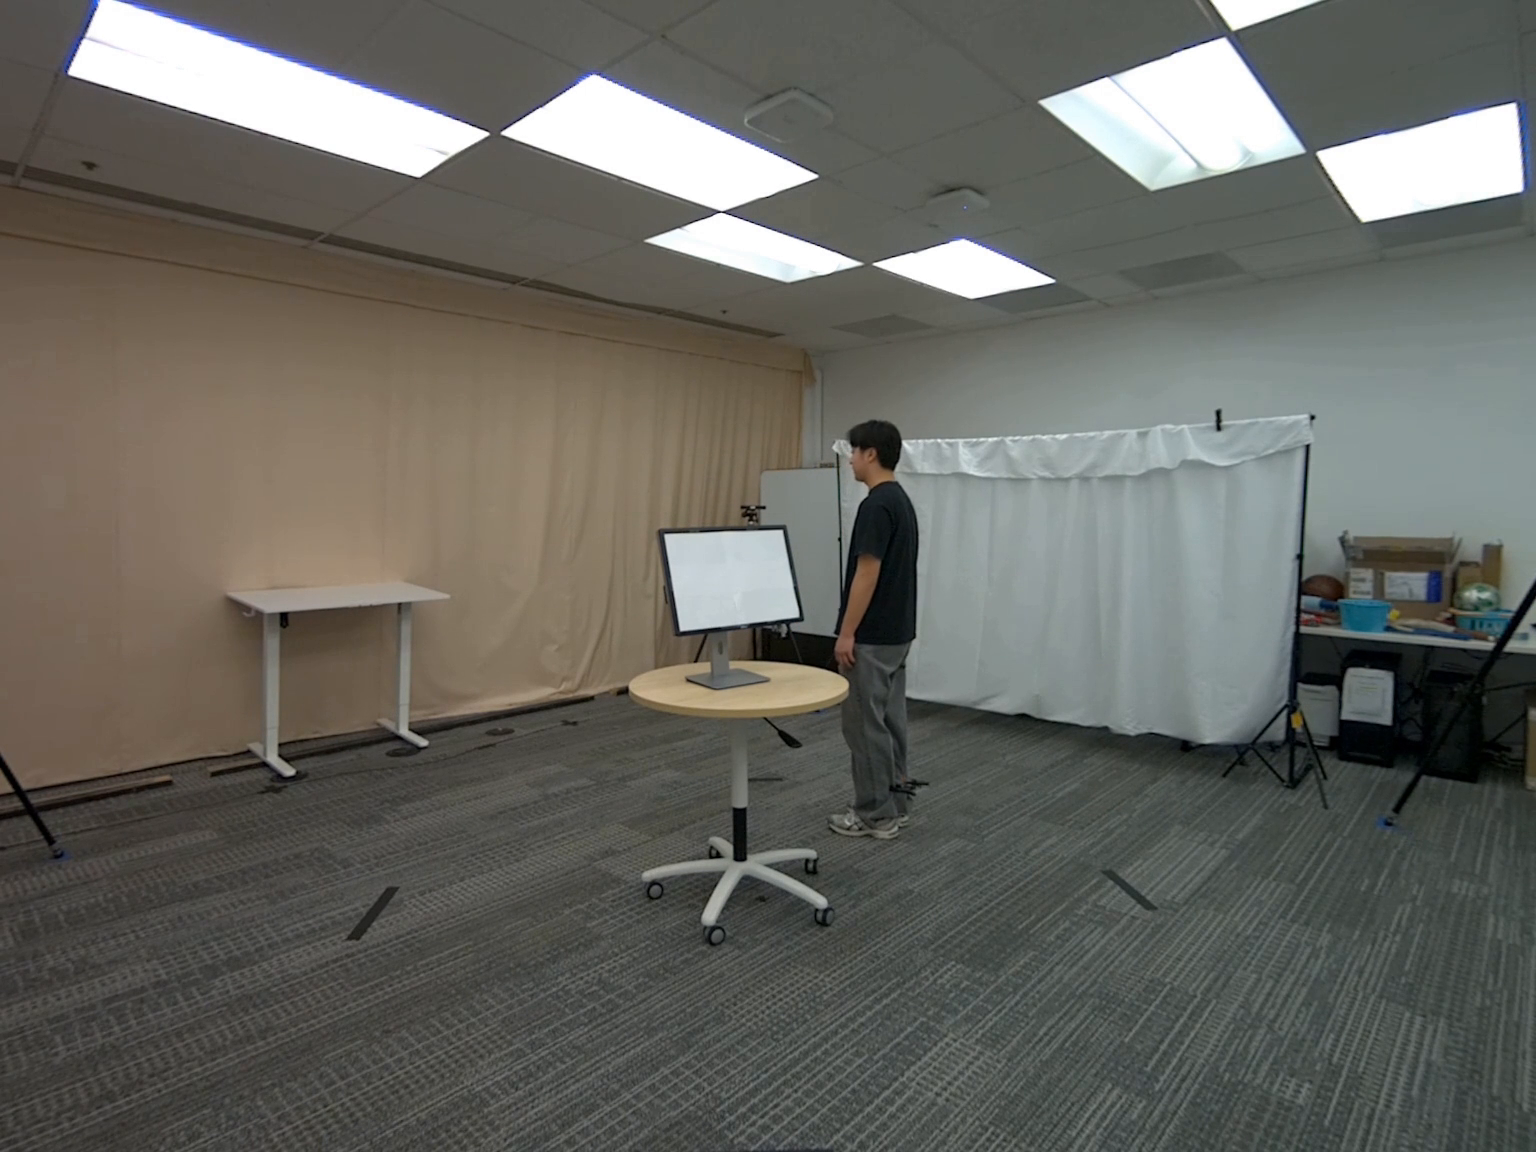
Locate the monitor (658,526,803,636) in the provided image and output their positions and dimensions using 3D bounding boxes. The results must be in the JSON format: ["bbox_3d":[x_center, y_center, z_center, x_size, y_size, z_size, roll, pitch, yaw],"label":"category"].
[{"bbox_3d":[-0.138,0.110,2.954,0.546,0.564,0.229,-4,6,-34],"label":"monitor"}]
